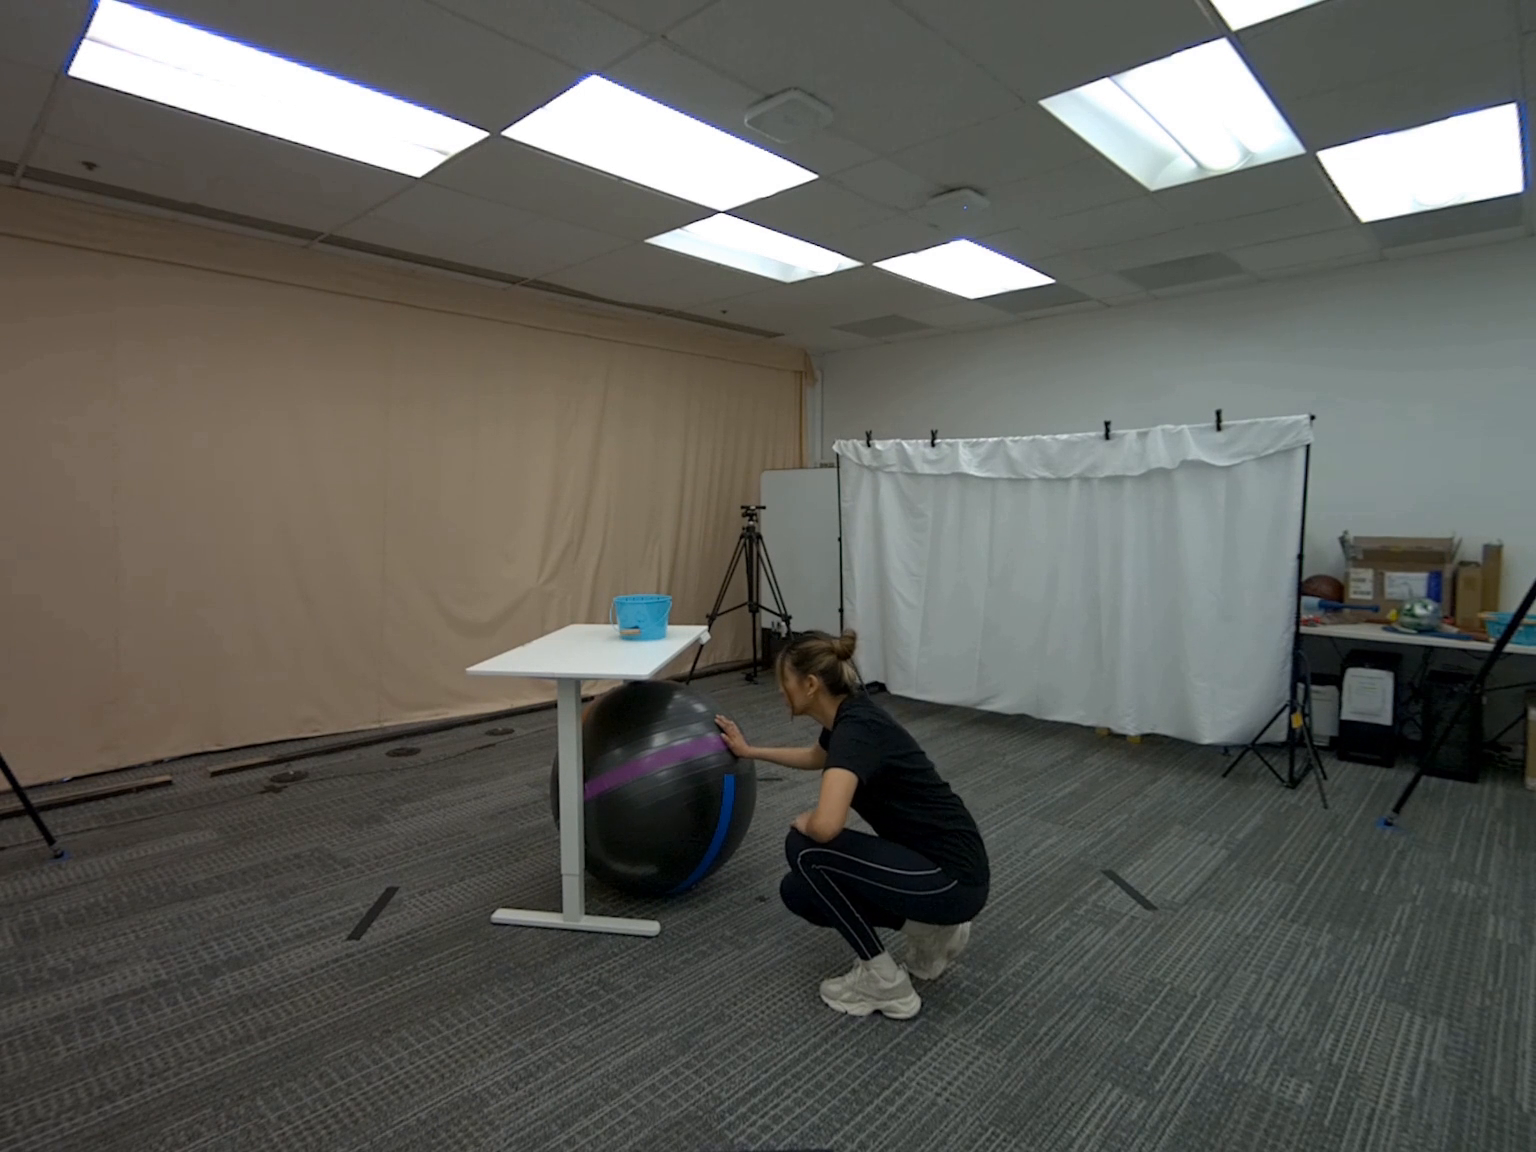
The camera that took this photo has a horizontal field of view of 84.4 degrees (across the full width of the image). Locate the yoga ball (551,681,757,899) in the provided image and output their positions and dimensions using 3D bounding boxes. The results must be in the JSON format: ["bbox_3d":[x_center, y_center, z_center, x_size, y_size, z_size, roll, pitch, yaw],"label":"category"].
[{"bbox_3d":[-0.428,0.786,3.106,0.757,0.756,0.761,0,4,-2],"label":"yoga ball"}]
